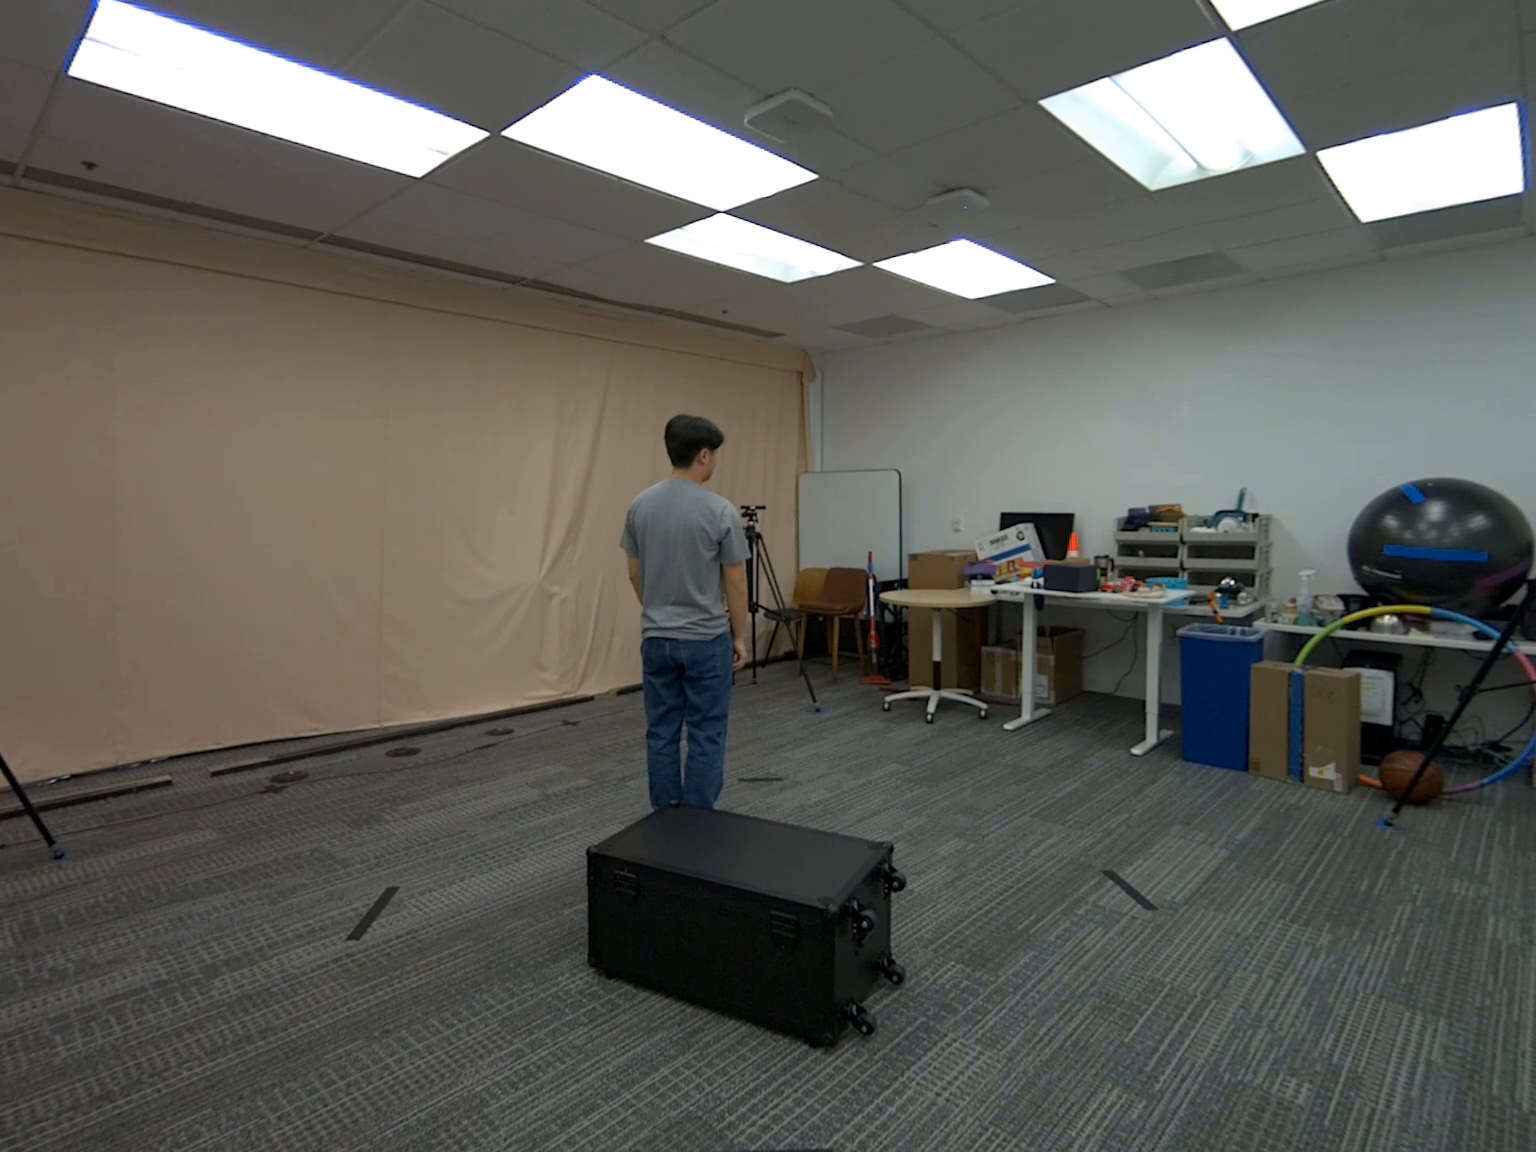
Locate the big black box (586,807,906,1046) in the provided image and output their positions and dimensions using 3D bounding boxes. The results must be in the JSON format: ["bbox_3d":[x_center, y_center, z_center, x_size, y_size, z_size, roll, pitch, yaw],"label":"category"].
[{"bbox_3d":[-0.047,0.996,2.495,0.885,0.395,0.508,2,4,27],"label":"big black box"}]
